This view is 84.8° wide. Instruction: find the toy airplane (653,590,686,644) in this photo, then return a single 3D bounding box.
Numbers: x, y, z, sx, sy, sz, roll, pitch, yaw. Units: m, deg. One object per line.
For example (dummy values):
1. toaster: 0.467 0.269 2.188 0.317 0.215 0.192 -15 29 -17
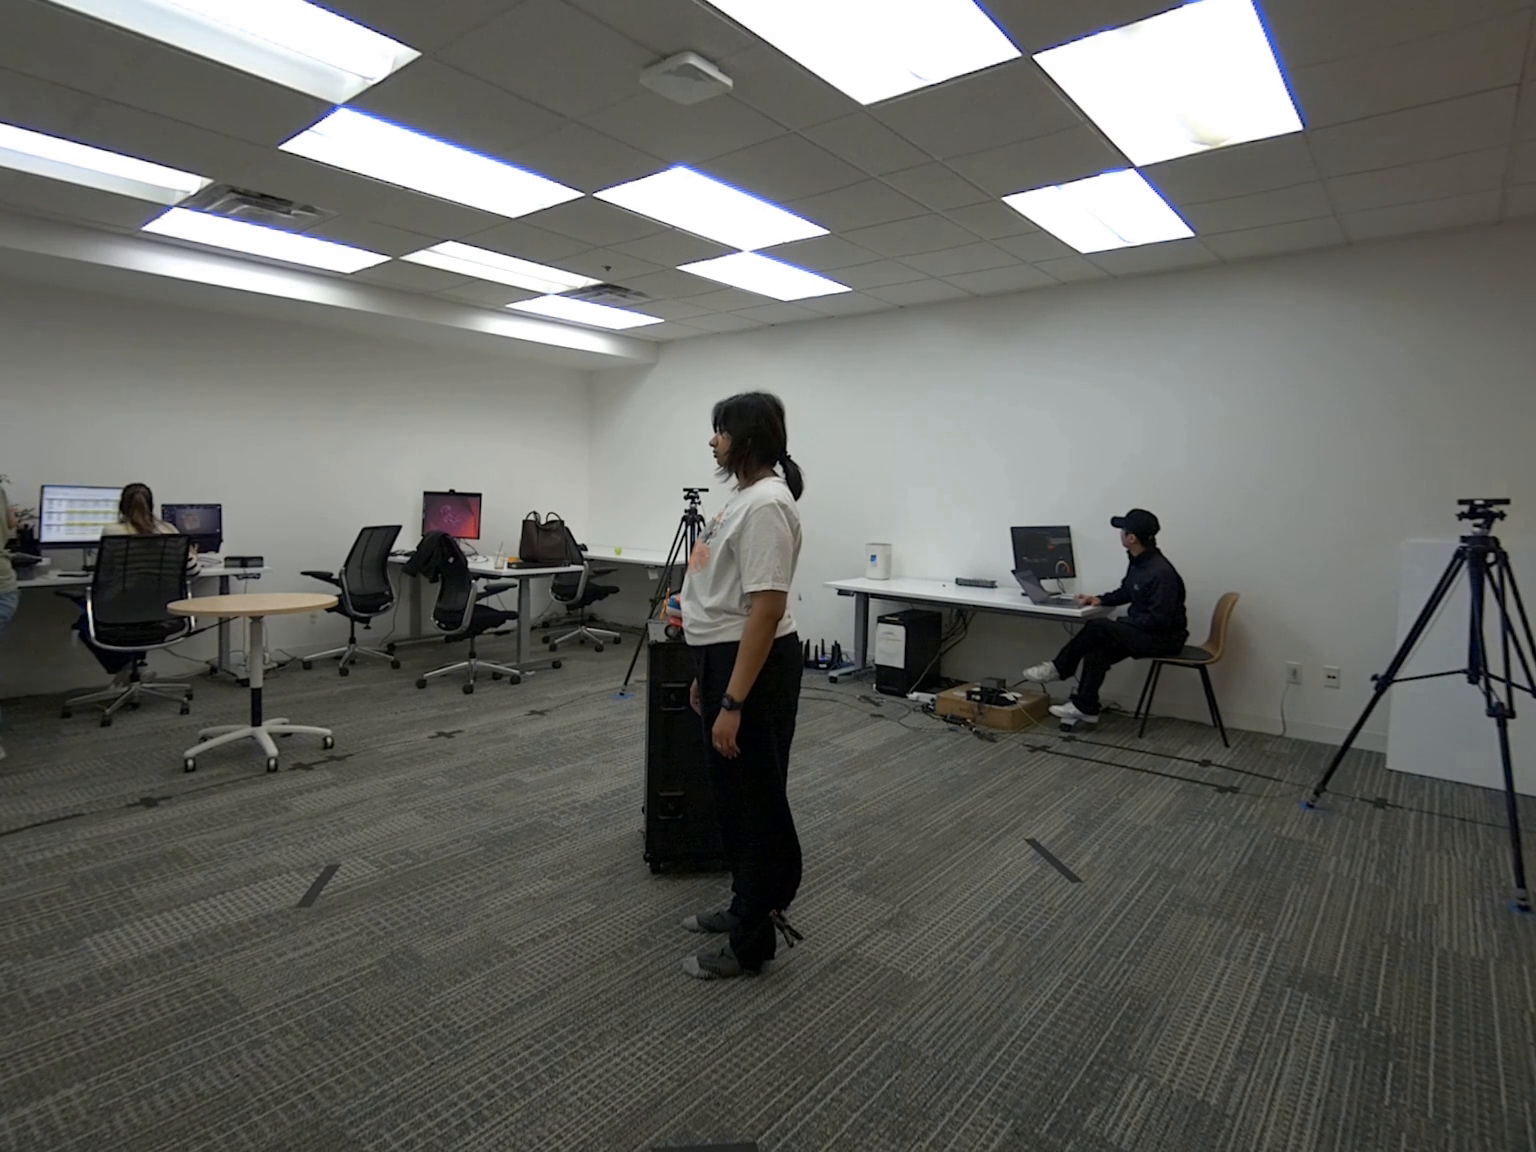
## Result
1. toy airplane: -0.264 0.142 3.092 0.254 0.156 0.257 0 4 -21
